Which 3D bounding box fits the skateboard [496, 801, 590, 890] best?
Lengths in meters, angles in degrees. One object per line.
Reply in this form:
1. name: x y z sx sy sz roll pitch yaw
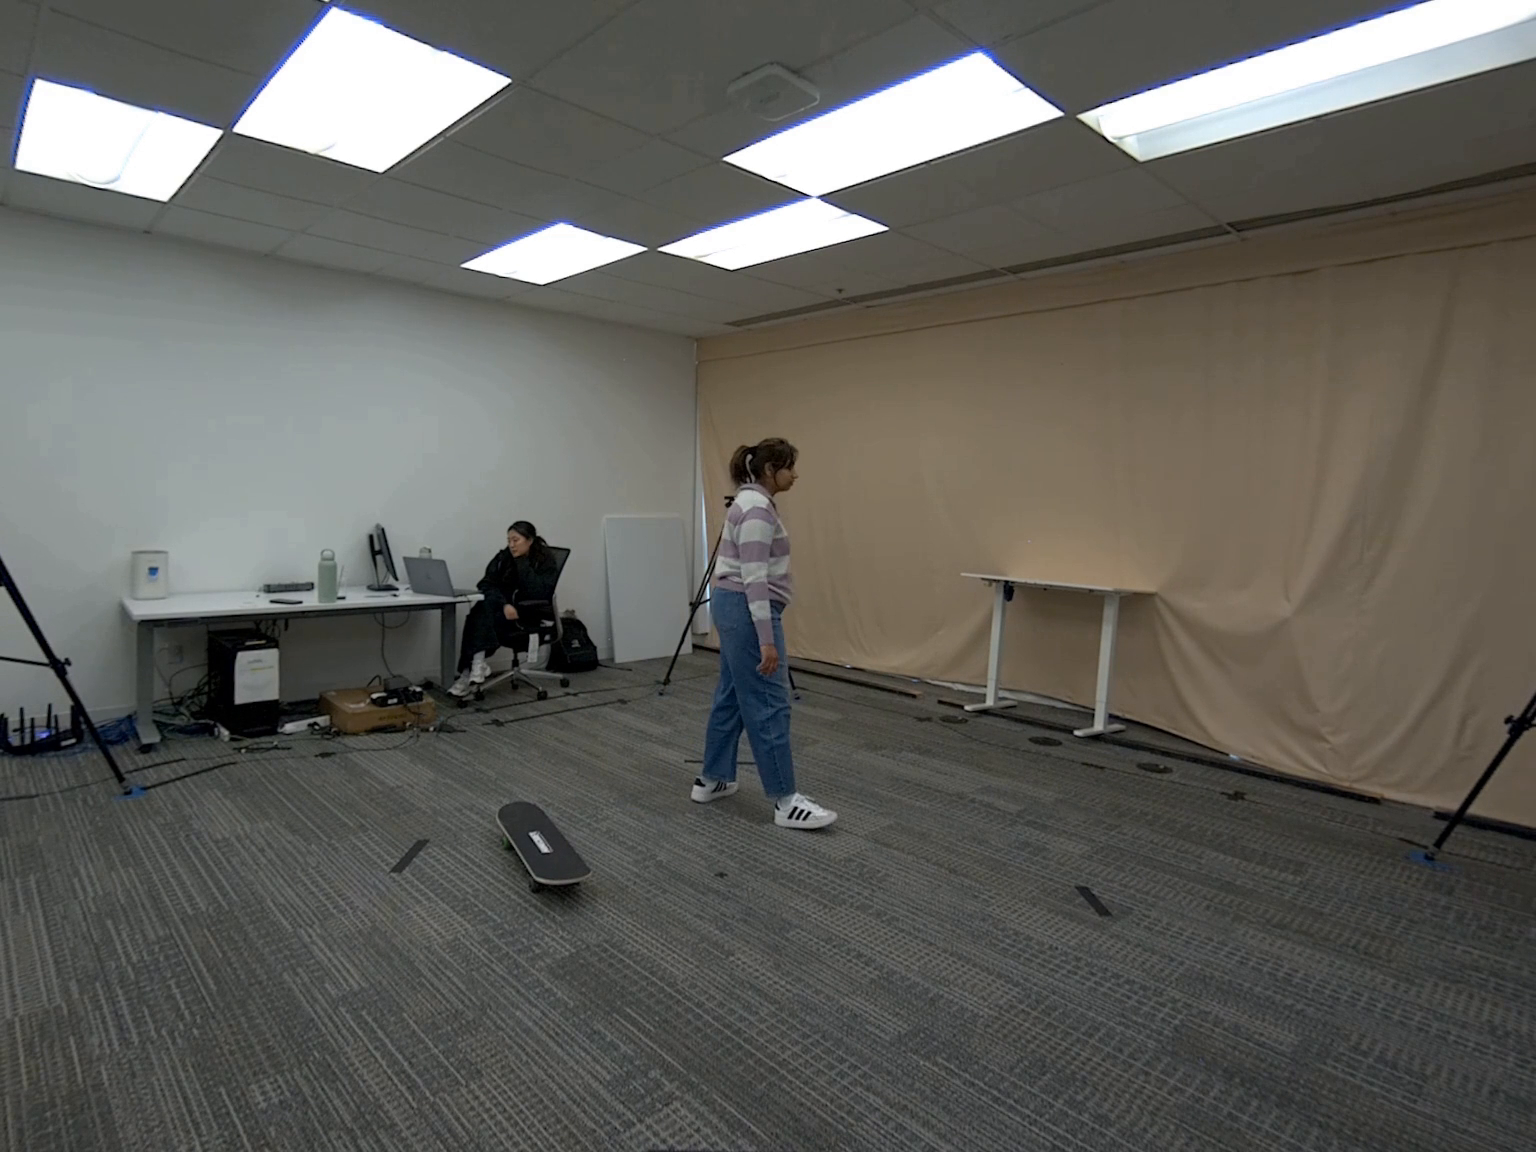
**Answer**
1. skateboard: -0.856 1.027 3.151 0.189 0.110 0.803 -1 6 -30
